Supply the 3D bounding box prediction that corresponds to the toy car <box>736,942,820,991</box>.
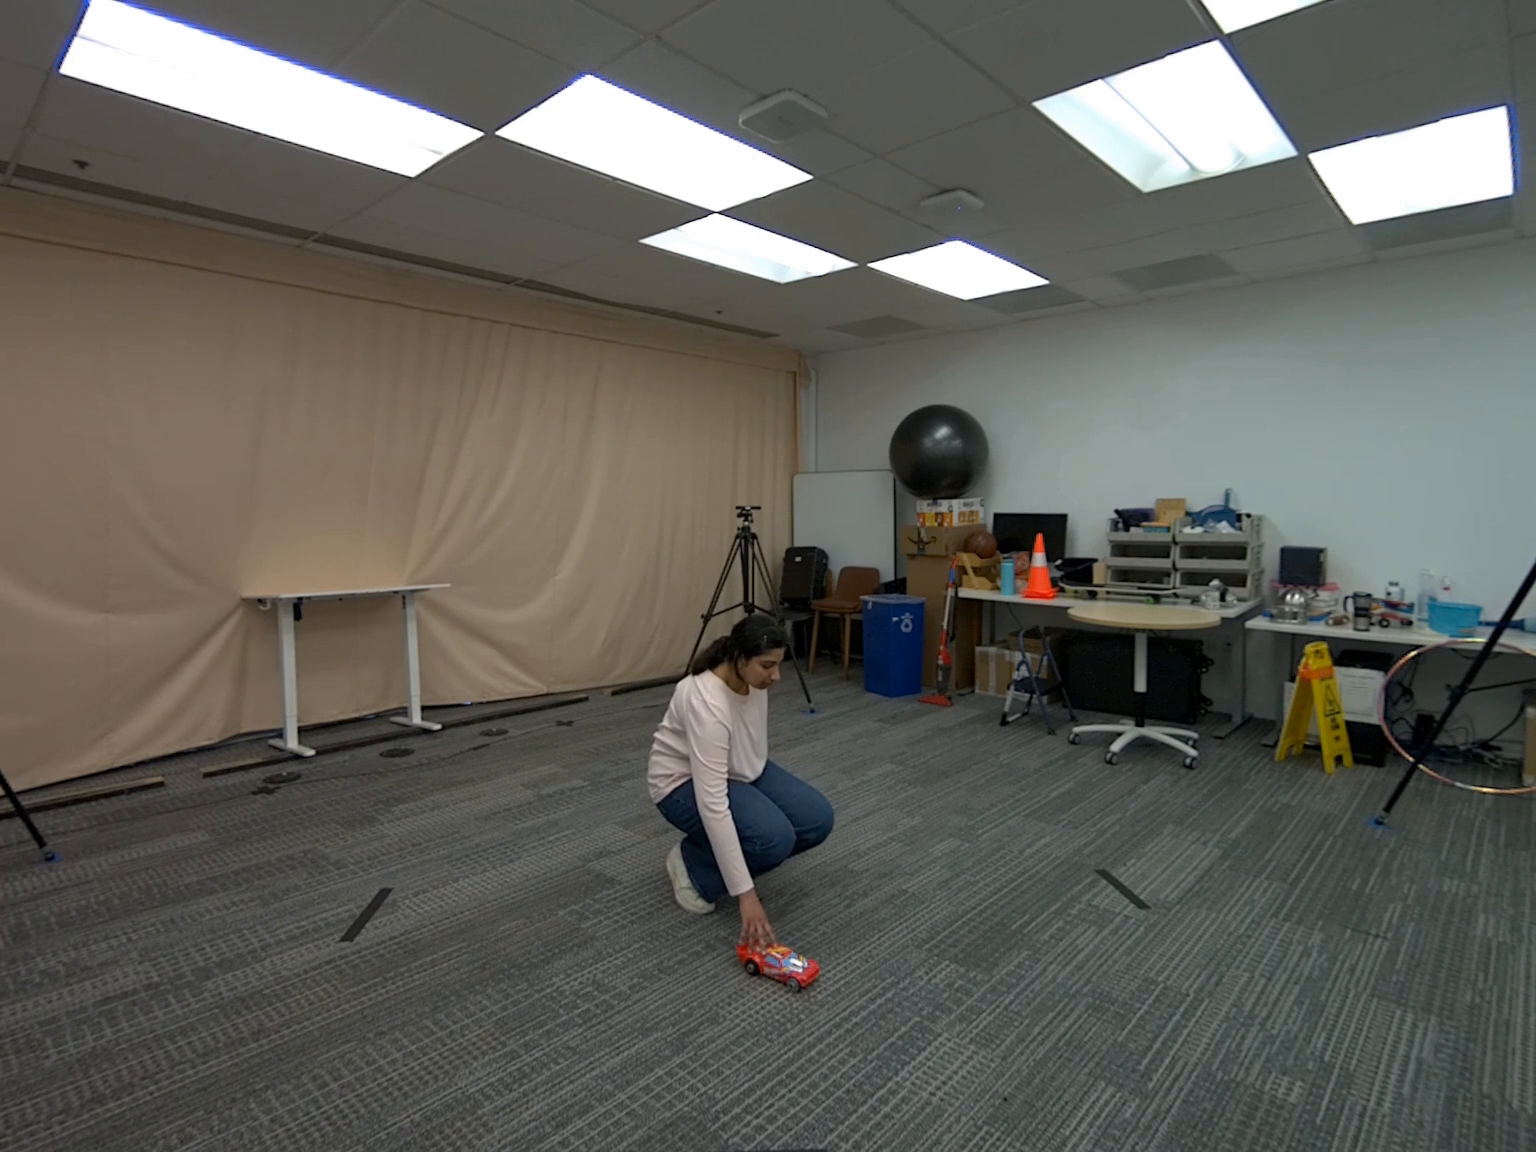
[{"bbox_3d":[0.022,1.144,2.513,0.263,0.083,0.126,16,14,36],"label":"toy car"}]
